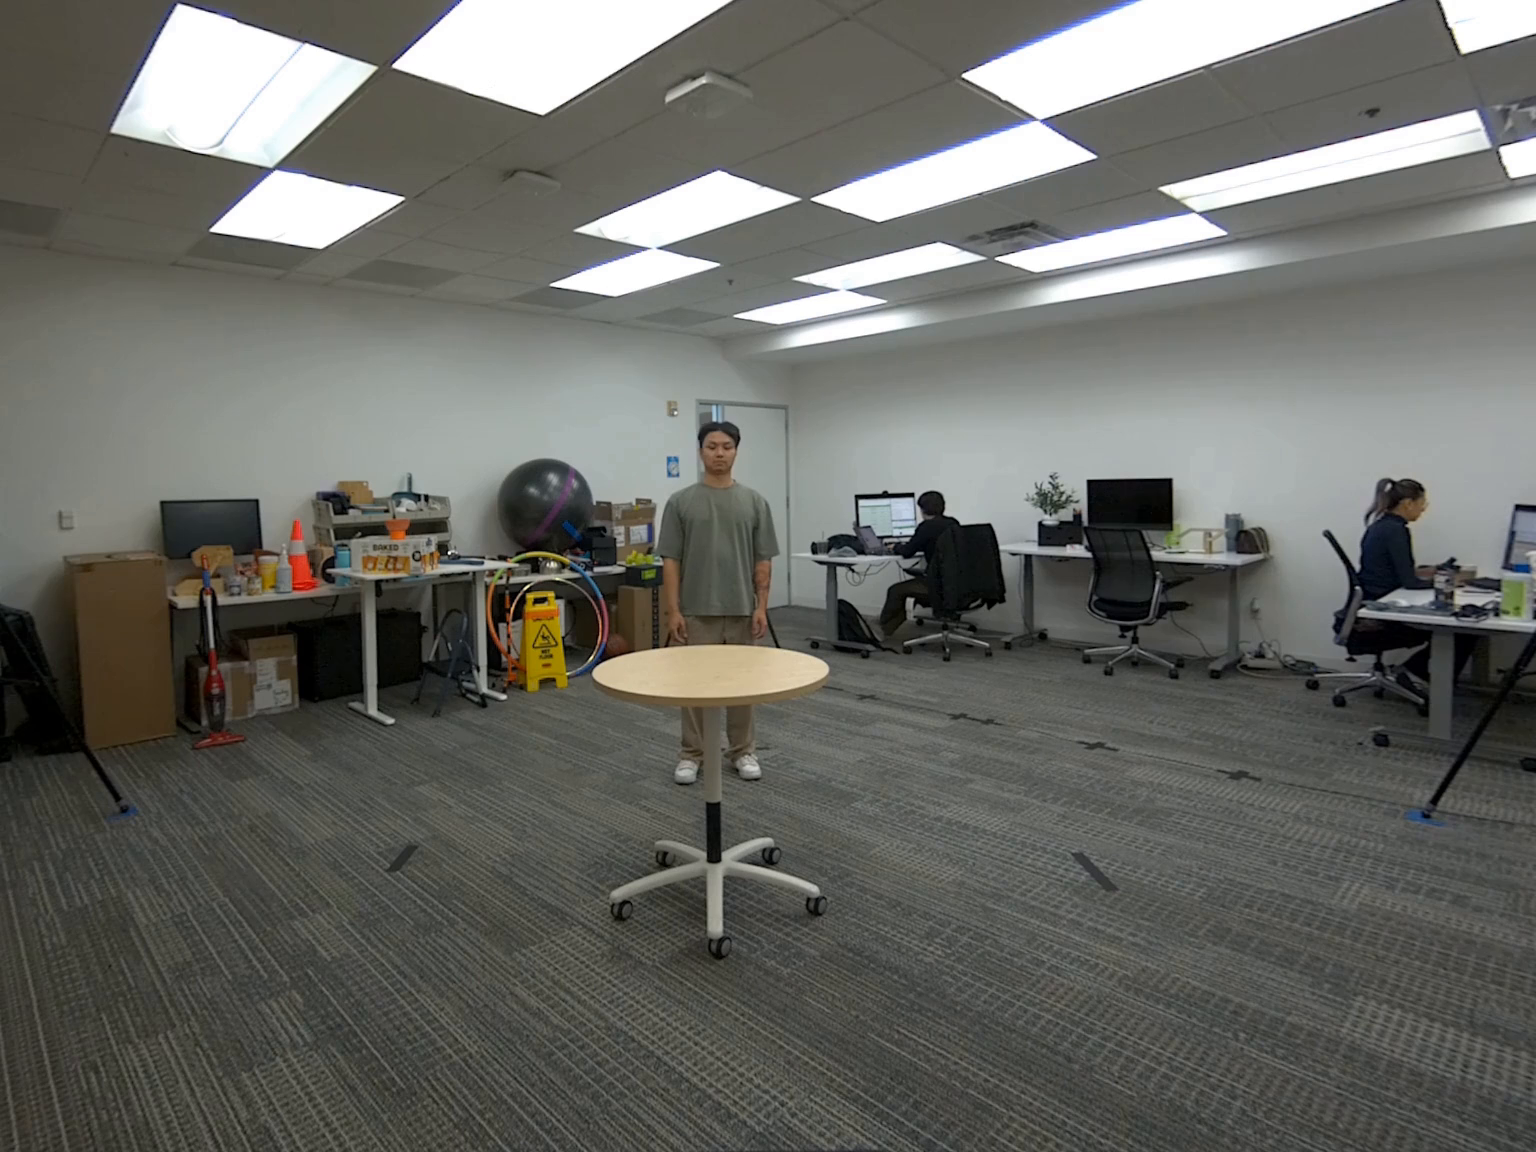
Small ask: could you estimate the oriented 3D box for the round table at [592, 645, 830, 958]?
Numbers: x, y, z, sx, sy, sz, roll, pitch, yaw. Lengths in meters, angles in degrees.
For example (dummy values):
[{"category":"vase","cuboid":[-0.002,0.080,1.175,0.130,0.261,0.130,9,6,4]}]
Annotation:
[{"category":"round table","cuboid":[-0.161,0.691,2.798,0.784,0.783,0.789,-1,5,-2]}]
